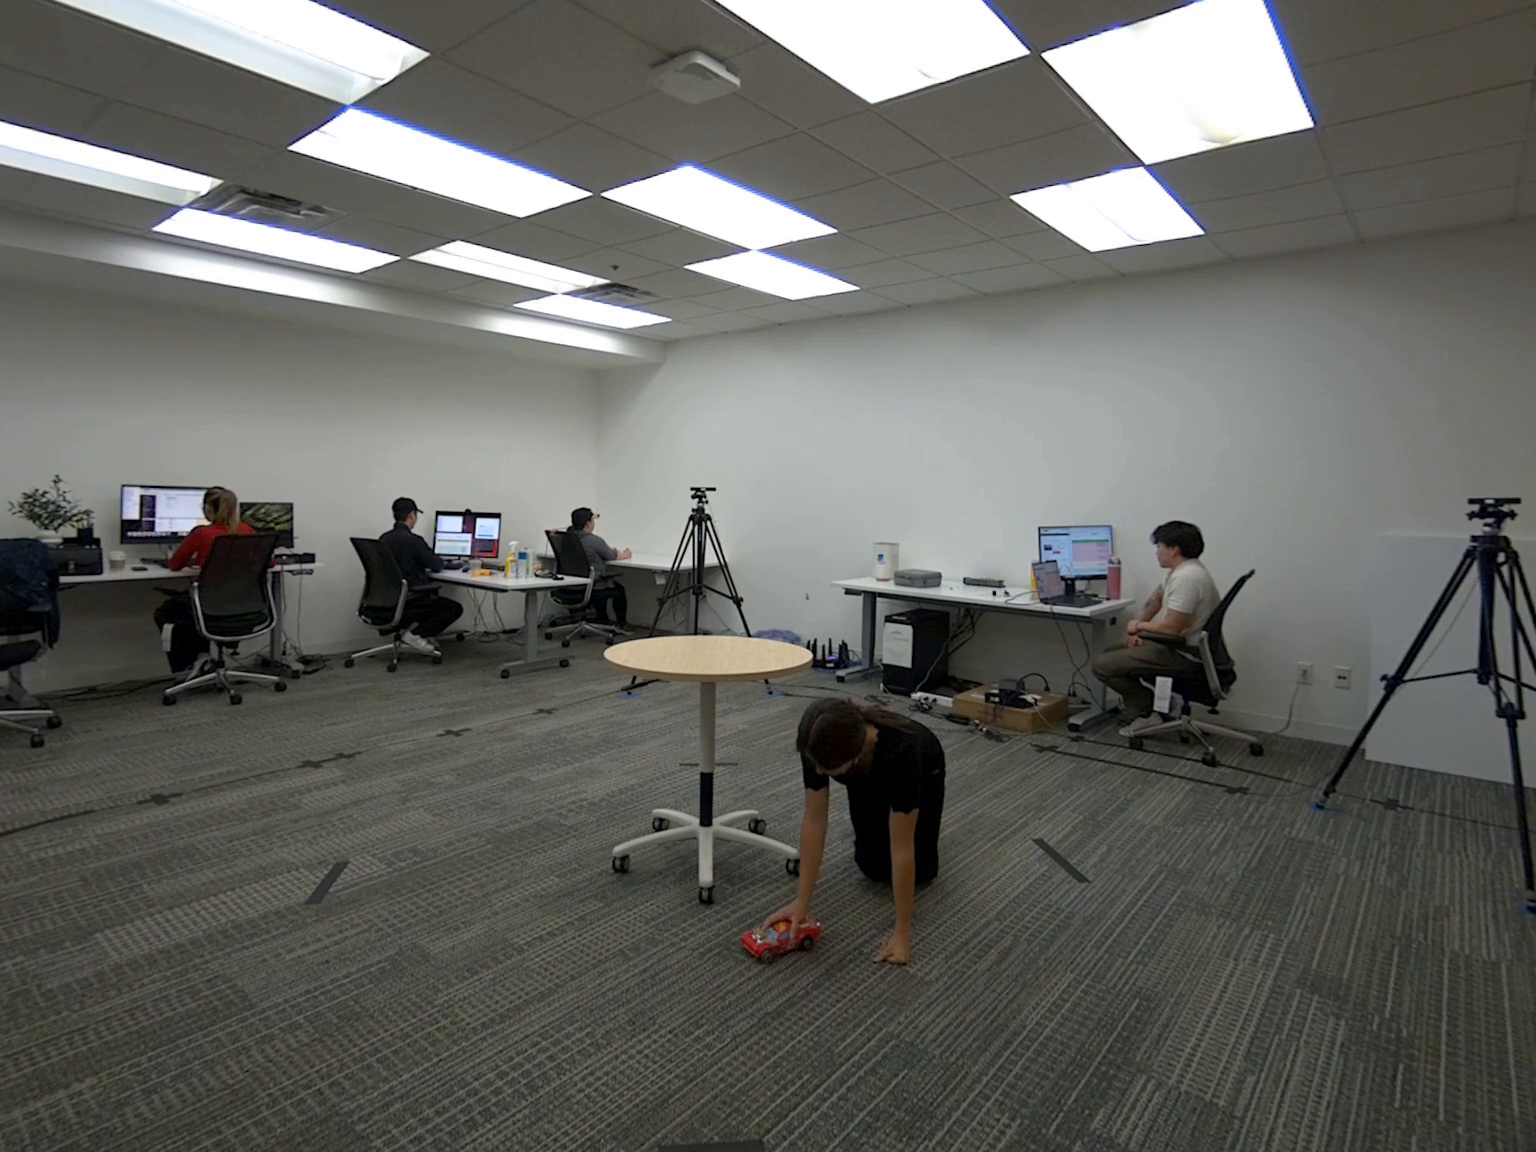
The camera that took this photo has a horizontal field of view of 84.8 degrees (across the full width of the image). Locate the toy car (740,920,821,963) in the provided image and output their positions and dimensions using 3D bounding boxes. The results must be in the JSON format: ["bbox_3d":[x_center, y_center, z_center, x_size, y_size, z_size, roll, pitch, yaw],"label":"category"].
[{"bbox_3d":[0.039,1.095,2.584,0.249,0.082,0.134,-13,11,-26],"label":"toy car"}]
